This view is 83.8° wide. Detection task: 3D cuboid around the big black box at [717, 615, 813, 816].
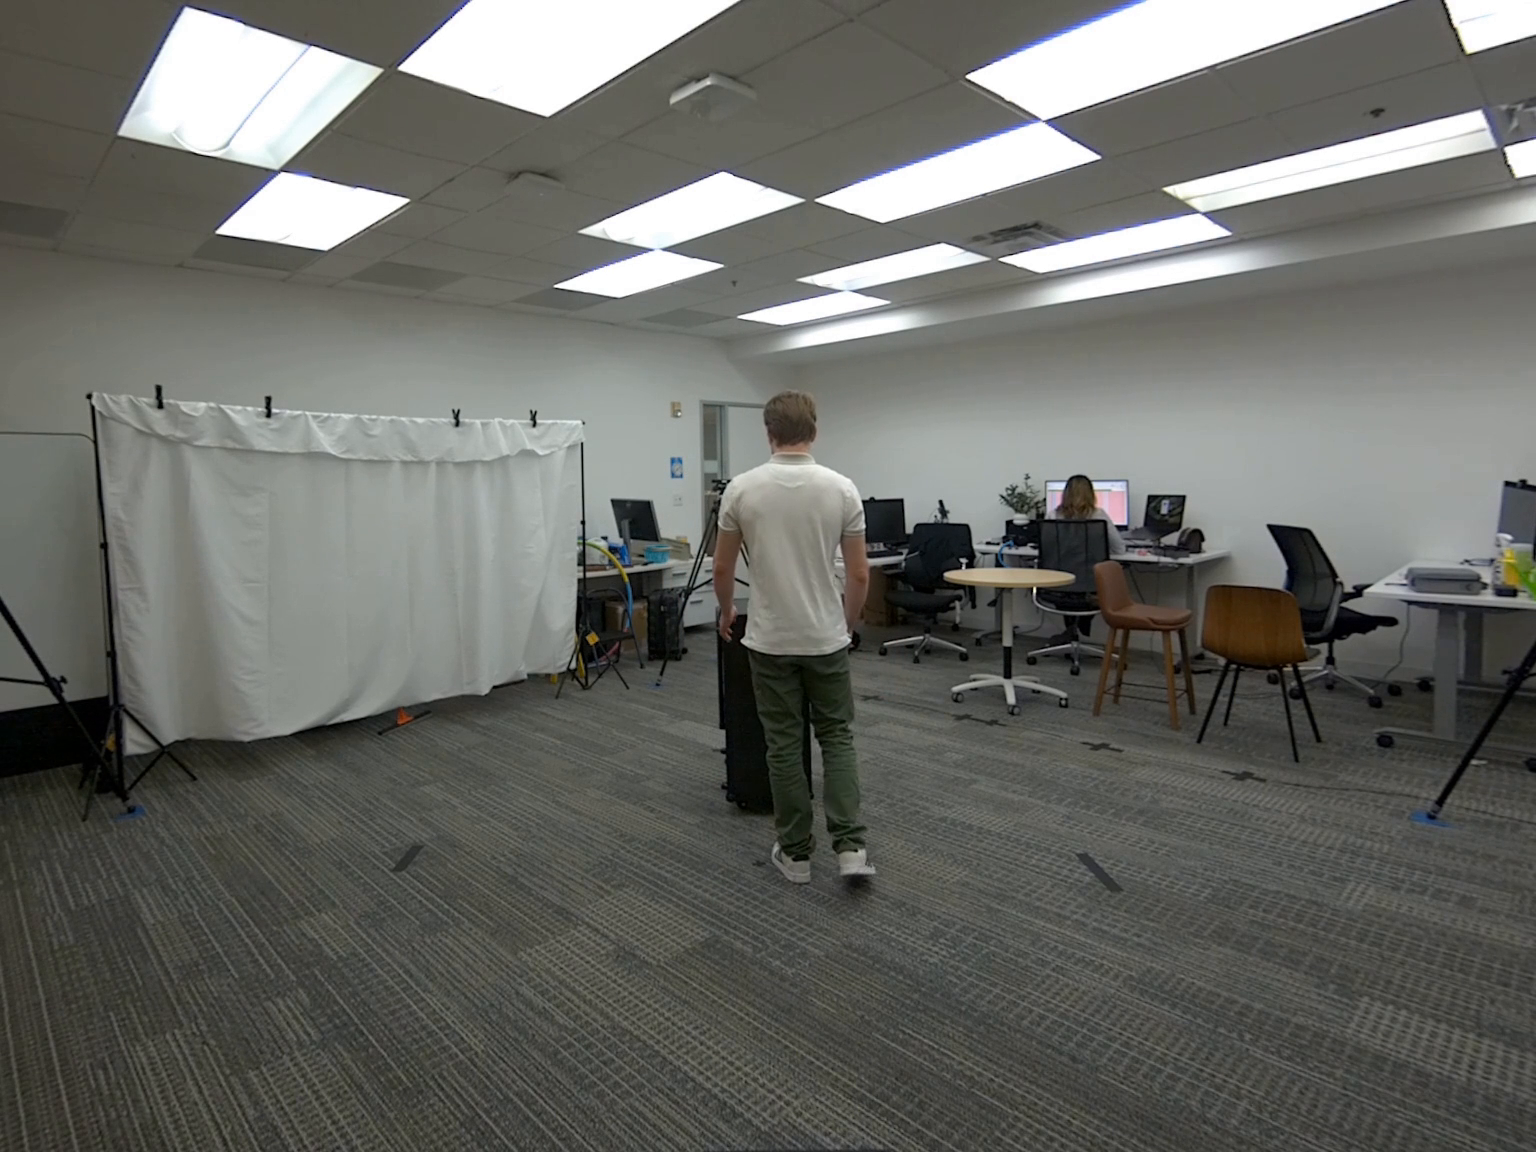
[{"bbox_3d":[-0.013,0.552,3.740,0.385,0.865,0.527,-1,5,-2],"label":"big black box"}]
